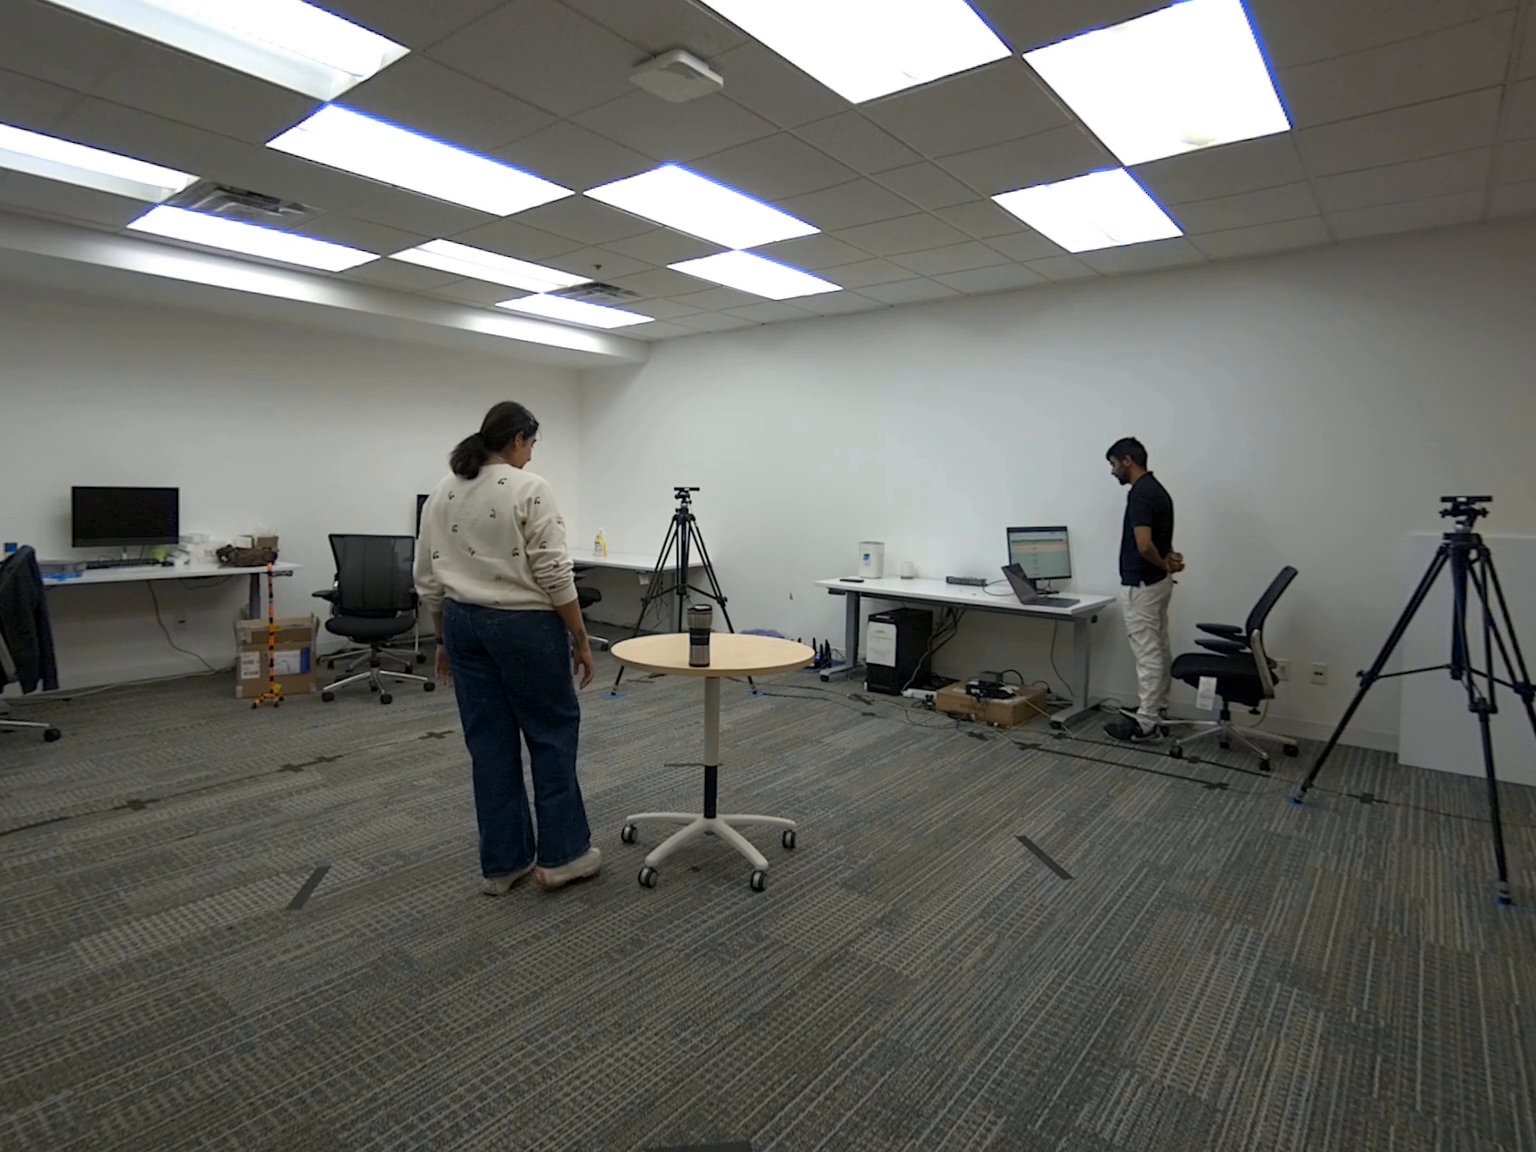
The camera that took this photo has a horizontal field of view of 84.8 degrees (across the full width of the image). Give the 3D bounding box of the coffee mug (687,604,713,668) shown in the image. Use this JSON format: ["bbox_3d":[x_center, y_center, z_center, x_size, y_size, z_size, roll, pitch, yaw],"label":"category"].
[{"bbox_3d":[-0.234,0.204,2.900,0.090,0.202,0.119,-3,4,27],"label":"coffee mug"}]
